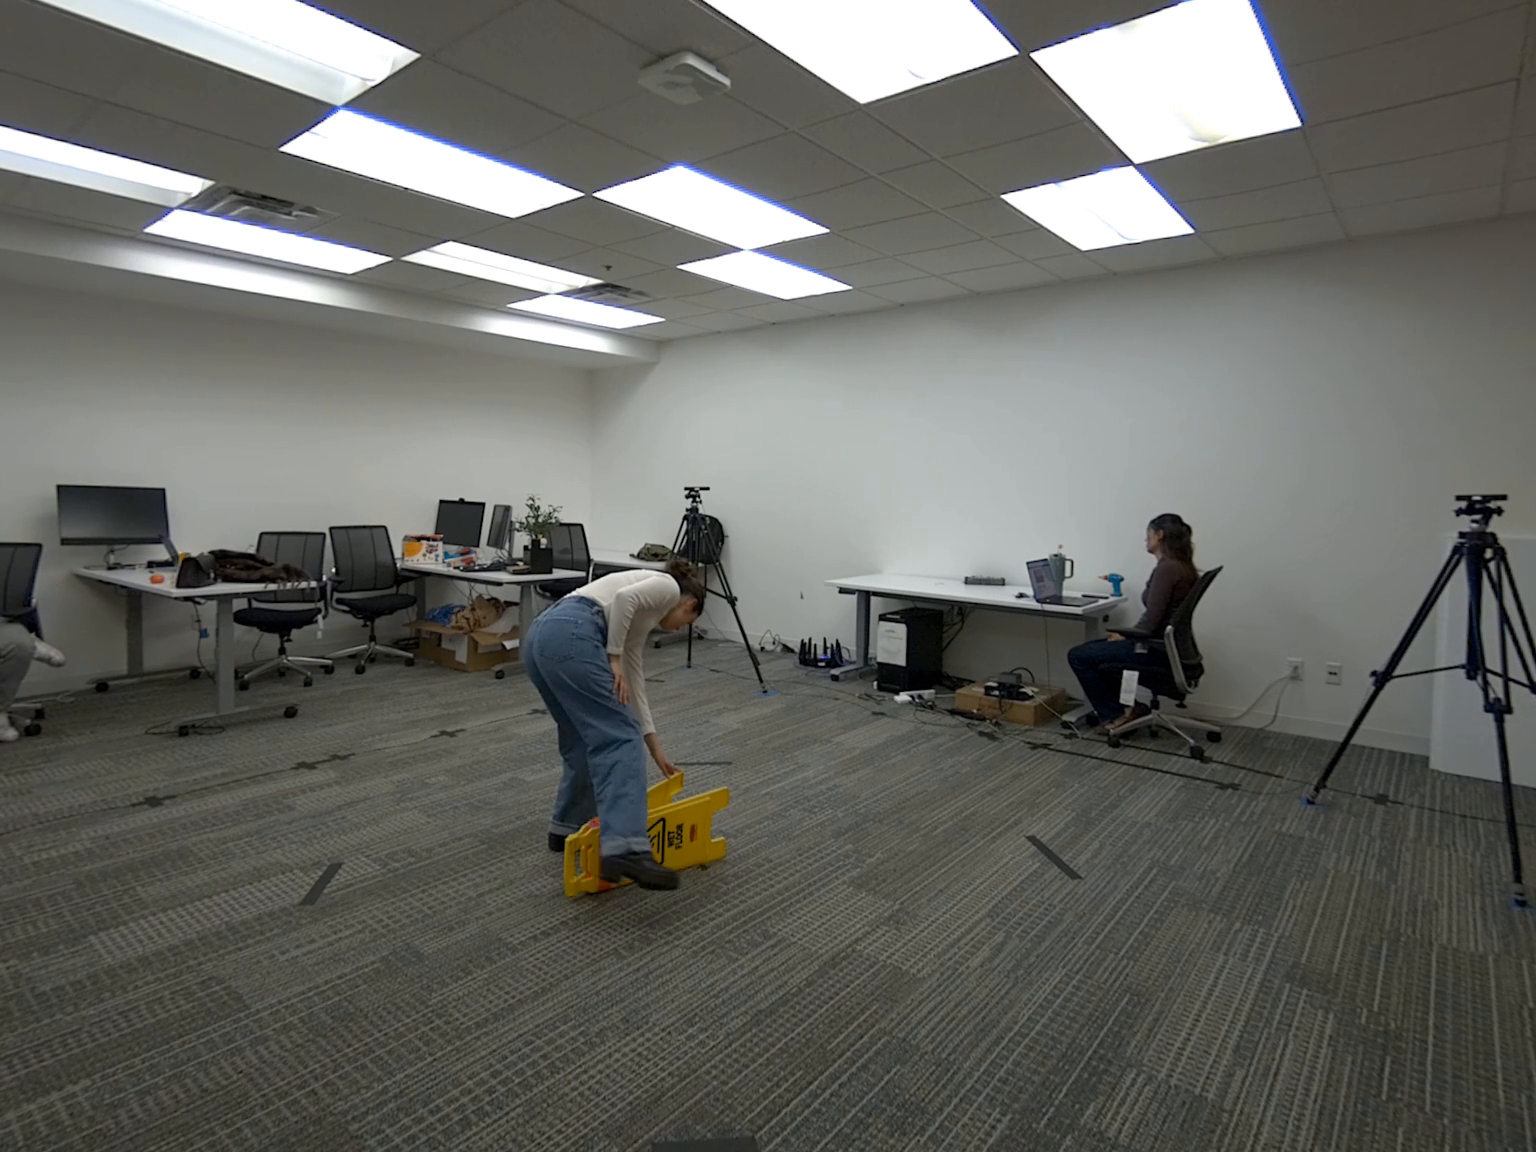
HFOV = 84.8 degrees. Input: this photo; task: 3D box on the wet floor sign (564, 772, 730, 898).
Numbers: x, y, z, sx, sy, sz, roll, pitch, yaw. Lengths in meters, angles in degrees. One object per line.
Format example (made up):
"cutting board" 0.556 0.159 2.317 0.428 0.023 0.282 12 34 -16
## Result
"wet floor sign" -0.466 0.939 3.049 0.300 0.281 0.628 6 9 42
